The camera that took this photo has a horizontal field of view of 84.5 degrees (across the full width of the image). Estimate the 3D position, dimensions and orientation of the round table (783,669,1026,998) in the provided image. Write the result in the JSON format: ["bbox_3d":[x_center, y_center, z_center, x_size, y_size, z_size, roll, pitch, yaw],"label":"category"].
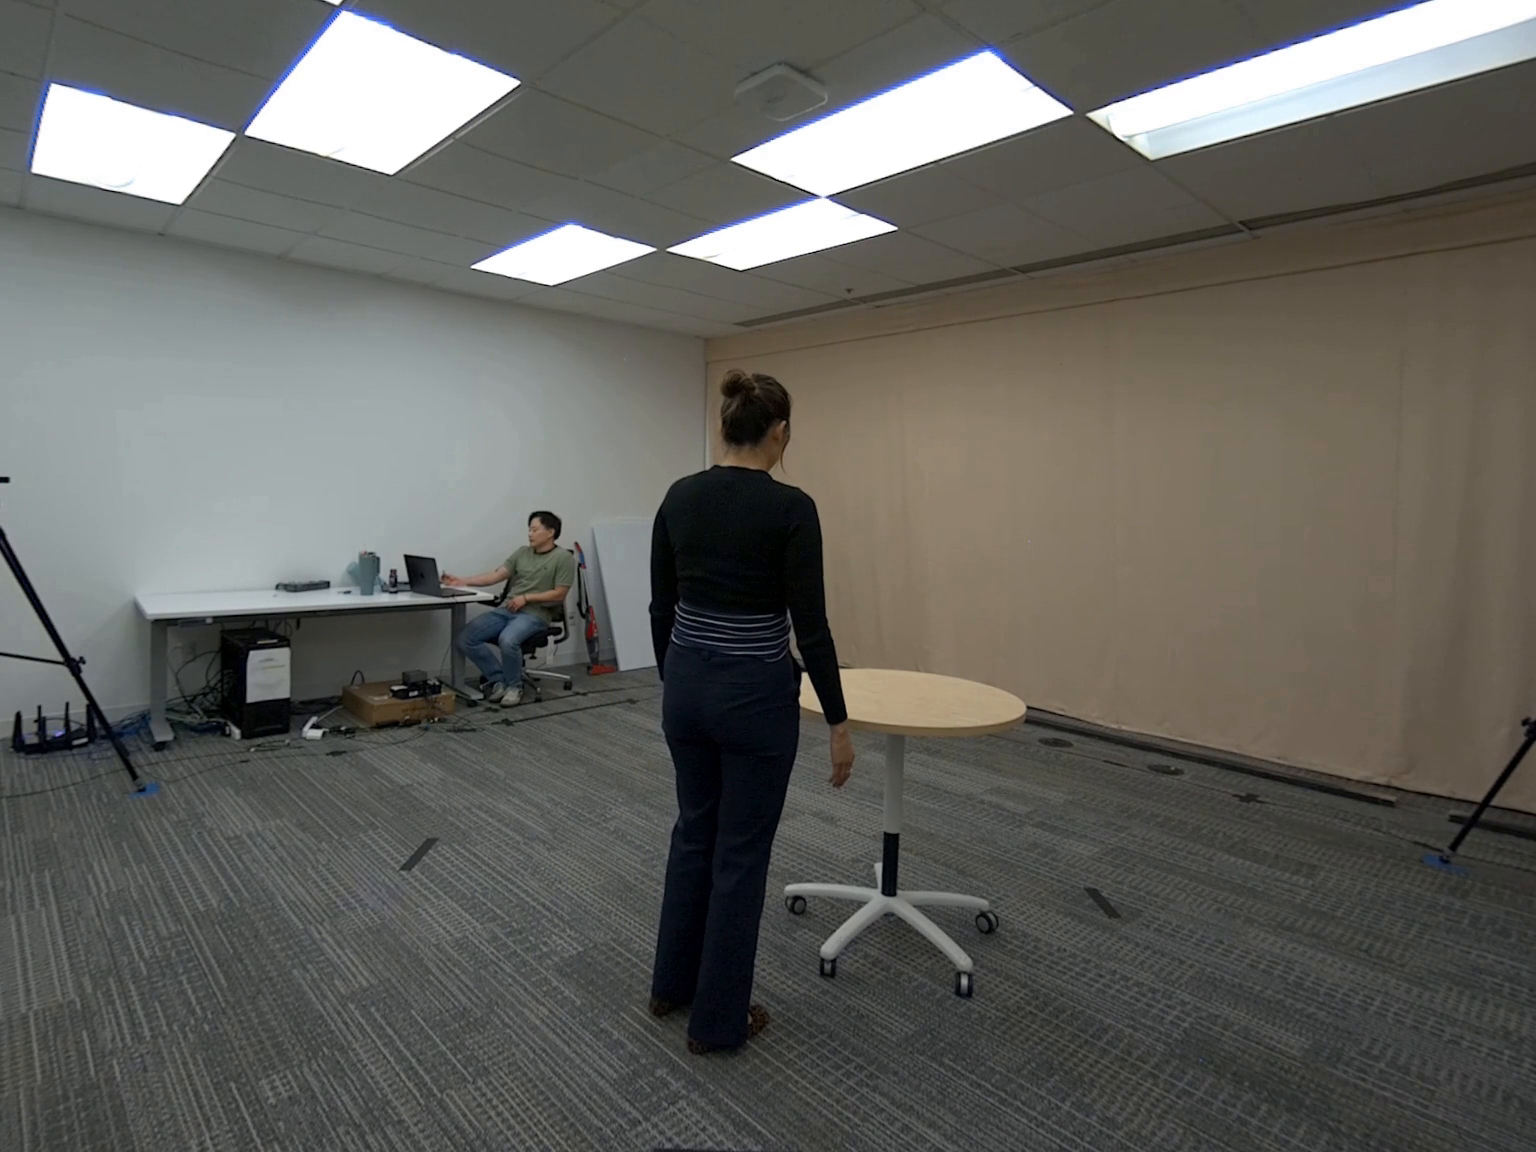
[{"bbox_3d":[0.386,0.767,2.667,0.763,0.792,0.767,2,4,-2],"label":"round table"}]
